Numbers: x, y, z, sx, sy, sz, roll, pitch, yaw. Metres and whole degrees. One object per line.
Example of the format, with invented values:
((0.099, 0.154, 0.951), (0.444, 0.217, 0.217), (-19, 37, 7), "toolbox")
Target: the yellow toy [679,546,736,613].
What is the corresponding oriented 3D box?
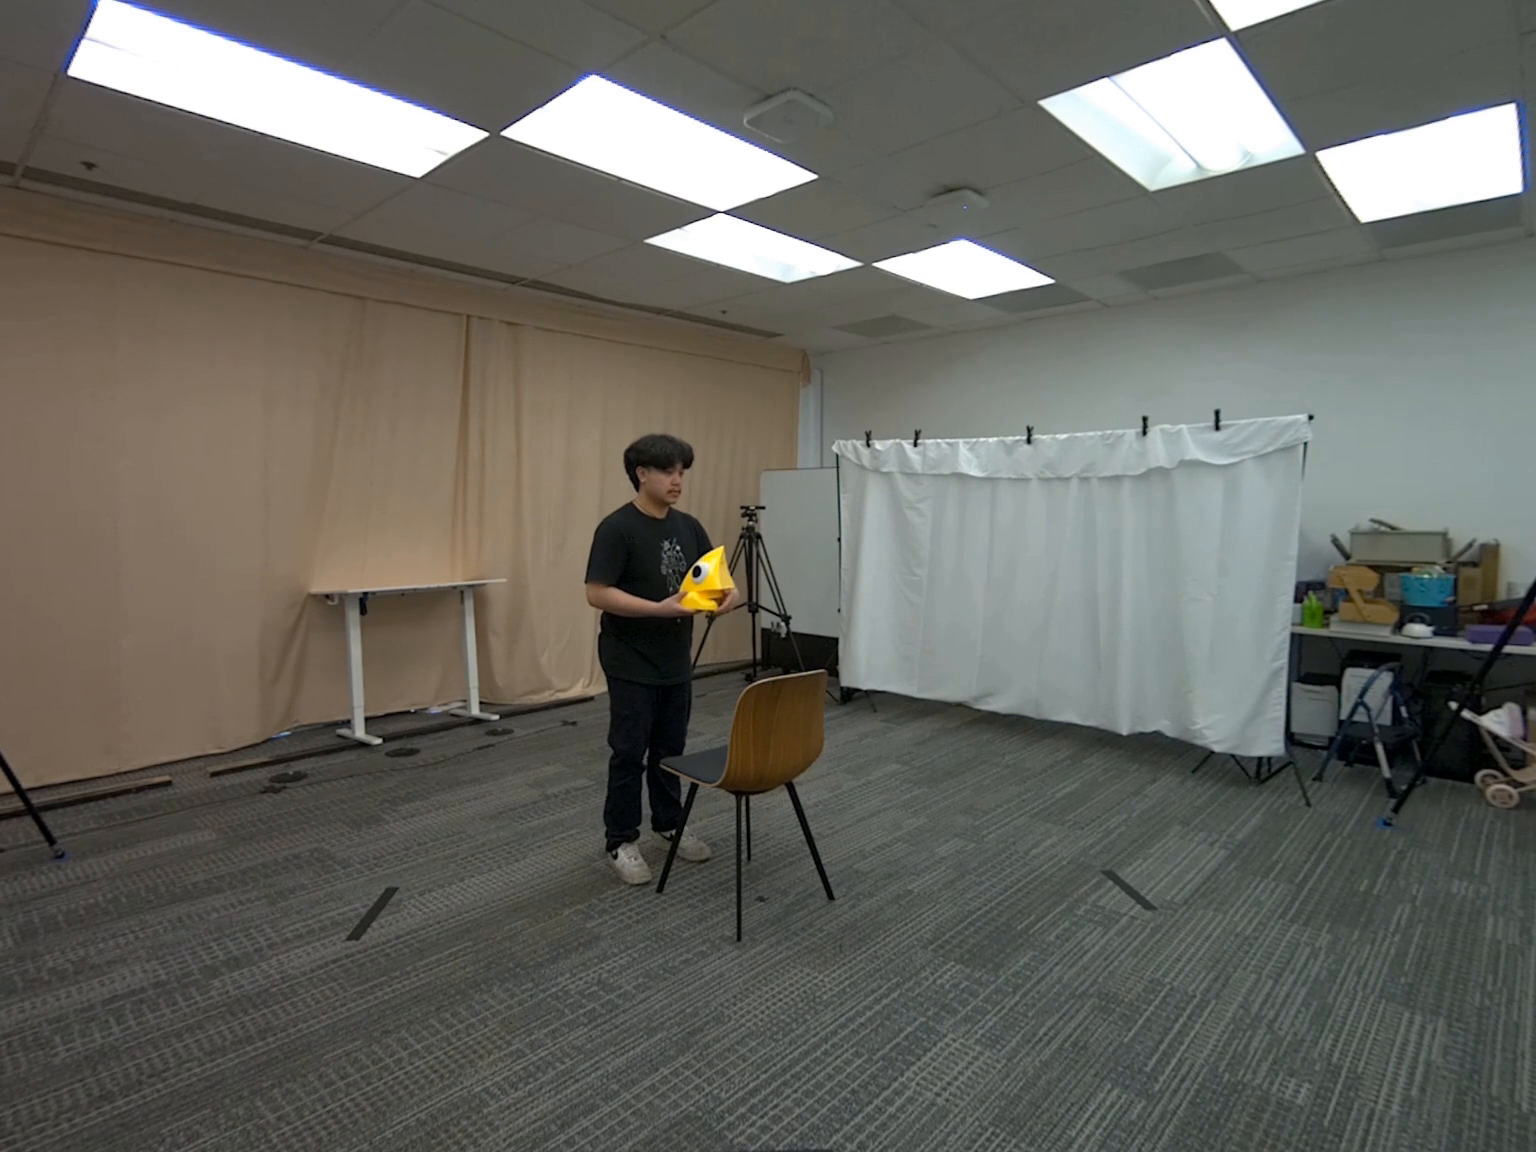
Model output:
((-0.229, -0.003, 3.085), (0.196, 0.230, 0.202), (4, 3, 13), "yellow toy")
